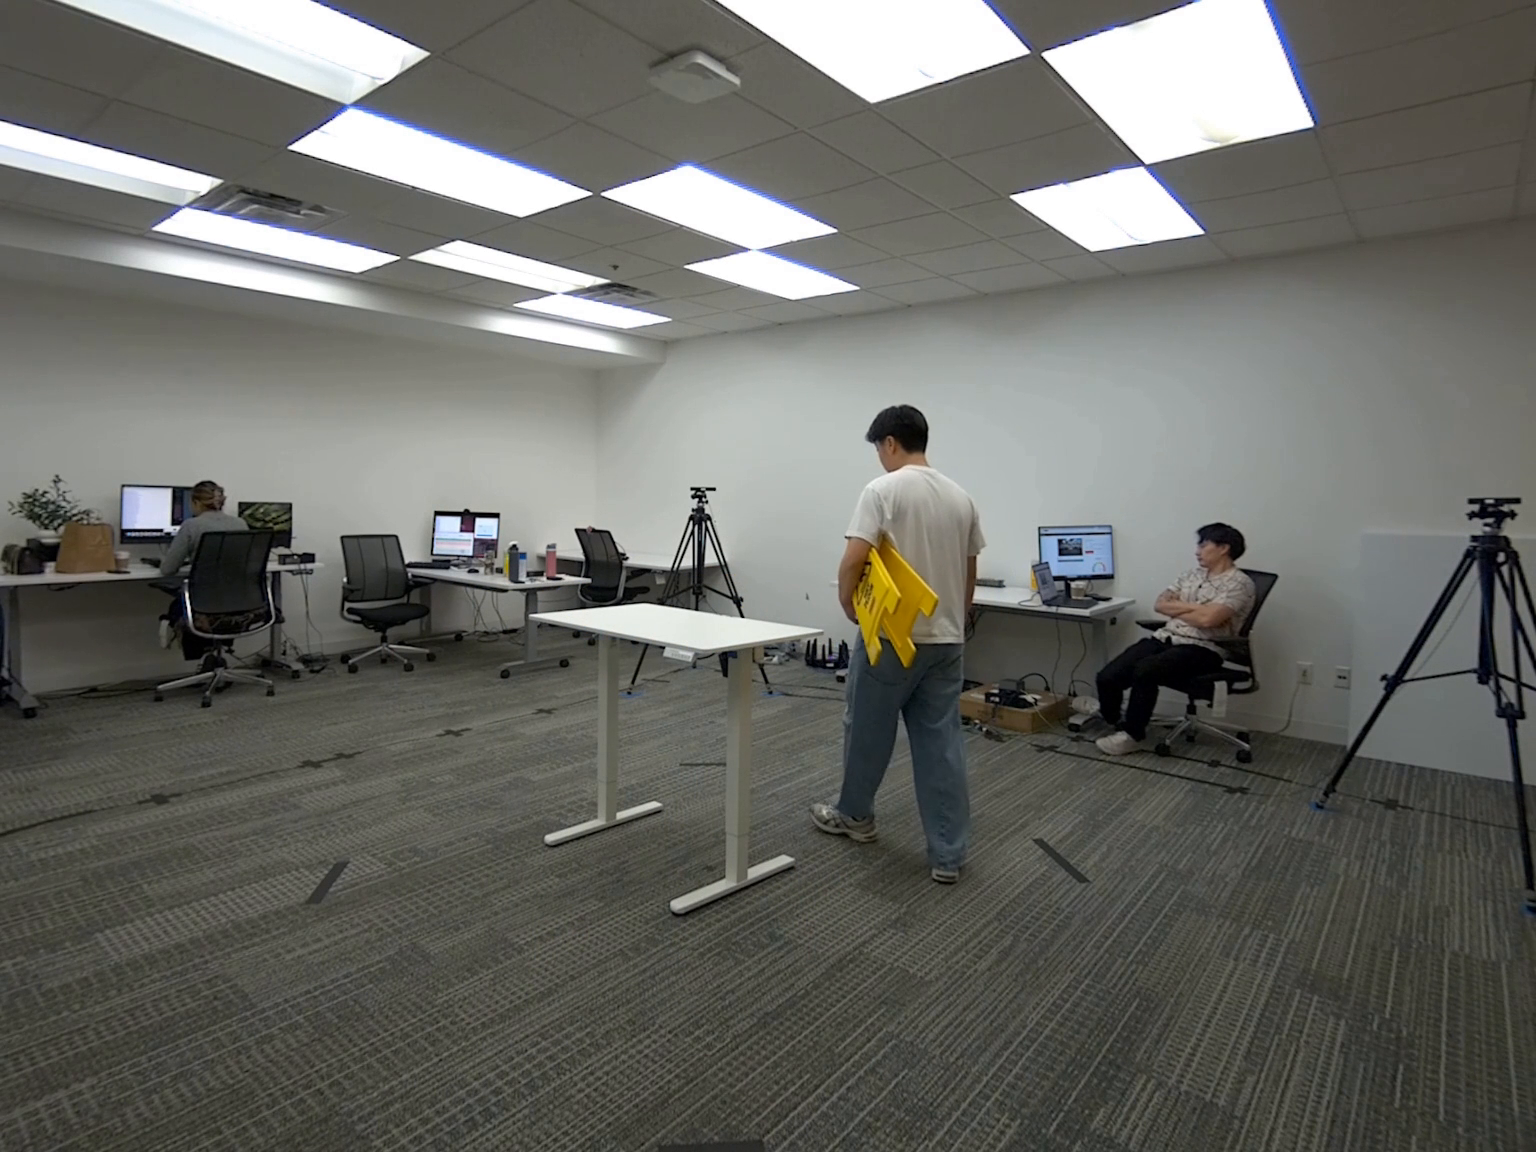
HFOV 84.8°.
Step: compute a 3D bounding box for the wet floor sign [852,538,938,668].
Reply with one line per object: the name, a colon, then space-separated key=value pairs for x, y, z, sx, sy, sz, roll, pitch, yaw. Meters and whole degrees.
wet floor sign: x=0.365 y=0.013 z=3.056 sx=0.285 sy=0.277 sz=0.668 roll=3 pitch=29 yaw=-14
